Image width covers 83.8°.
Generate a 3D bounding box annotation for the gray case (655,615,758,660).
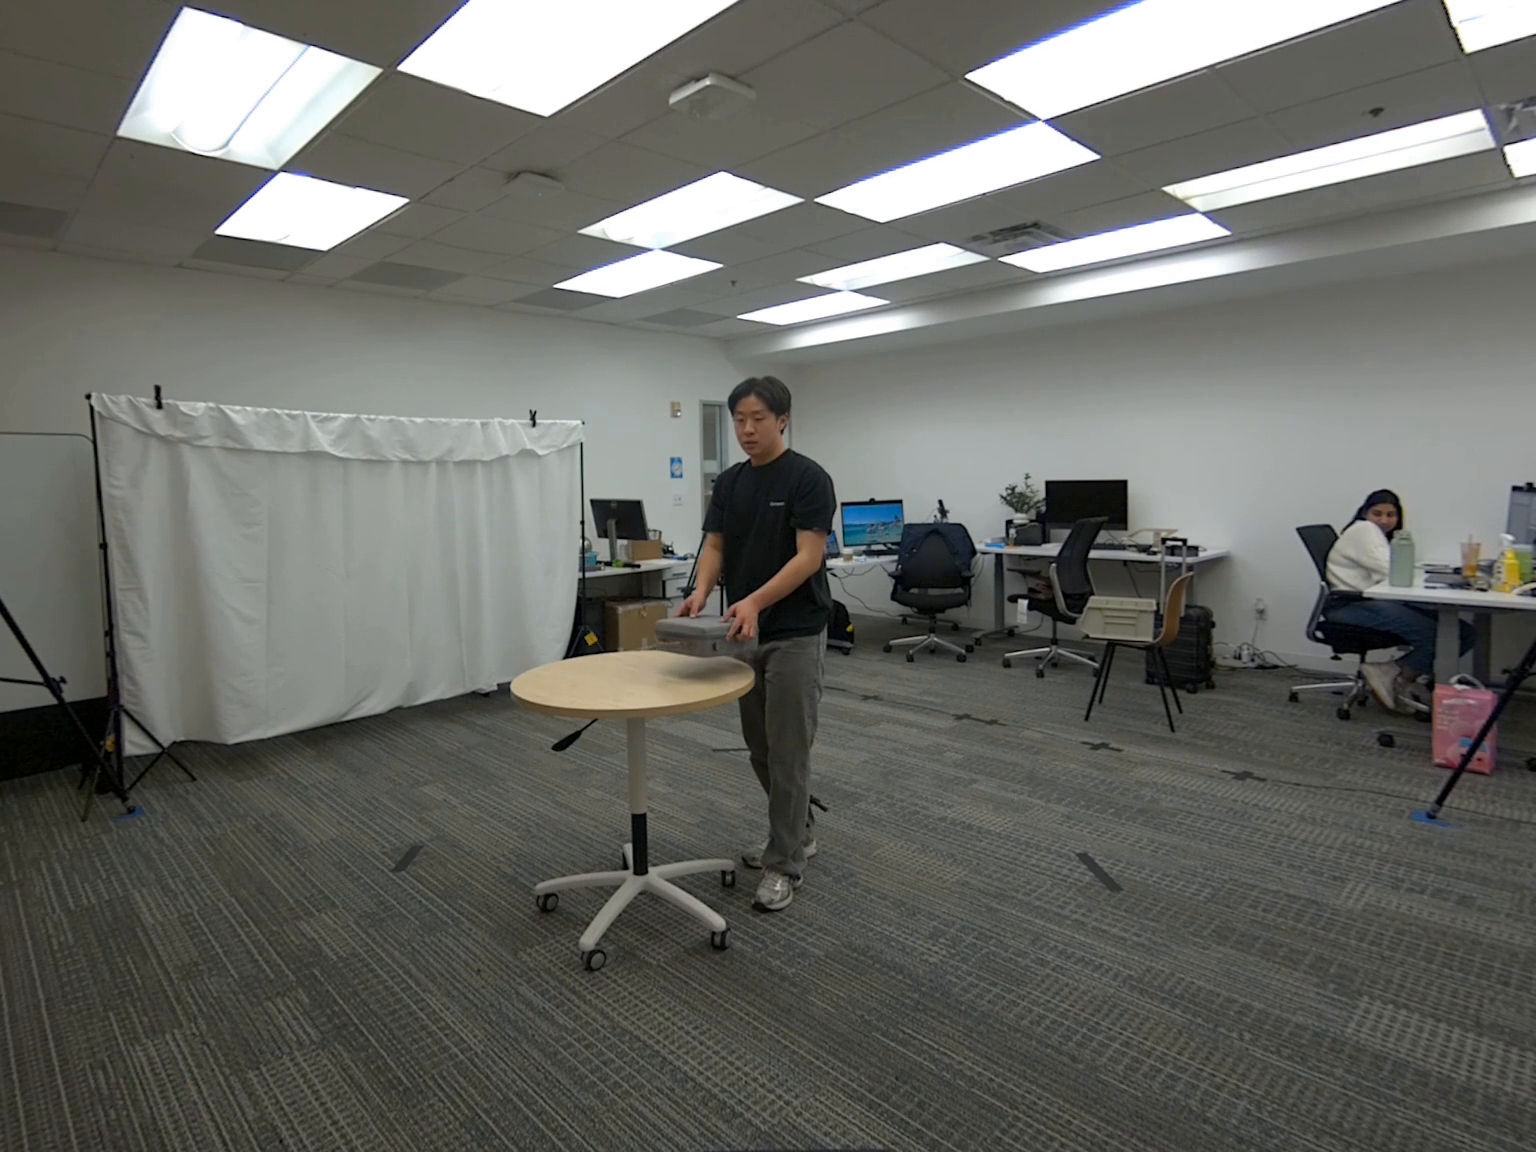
[{"bbox_3d":[-0.192,0.195,2.705,0.279,0.103,0.271,-4,5,-45],"label":"gray case"}]
